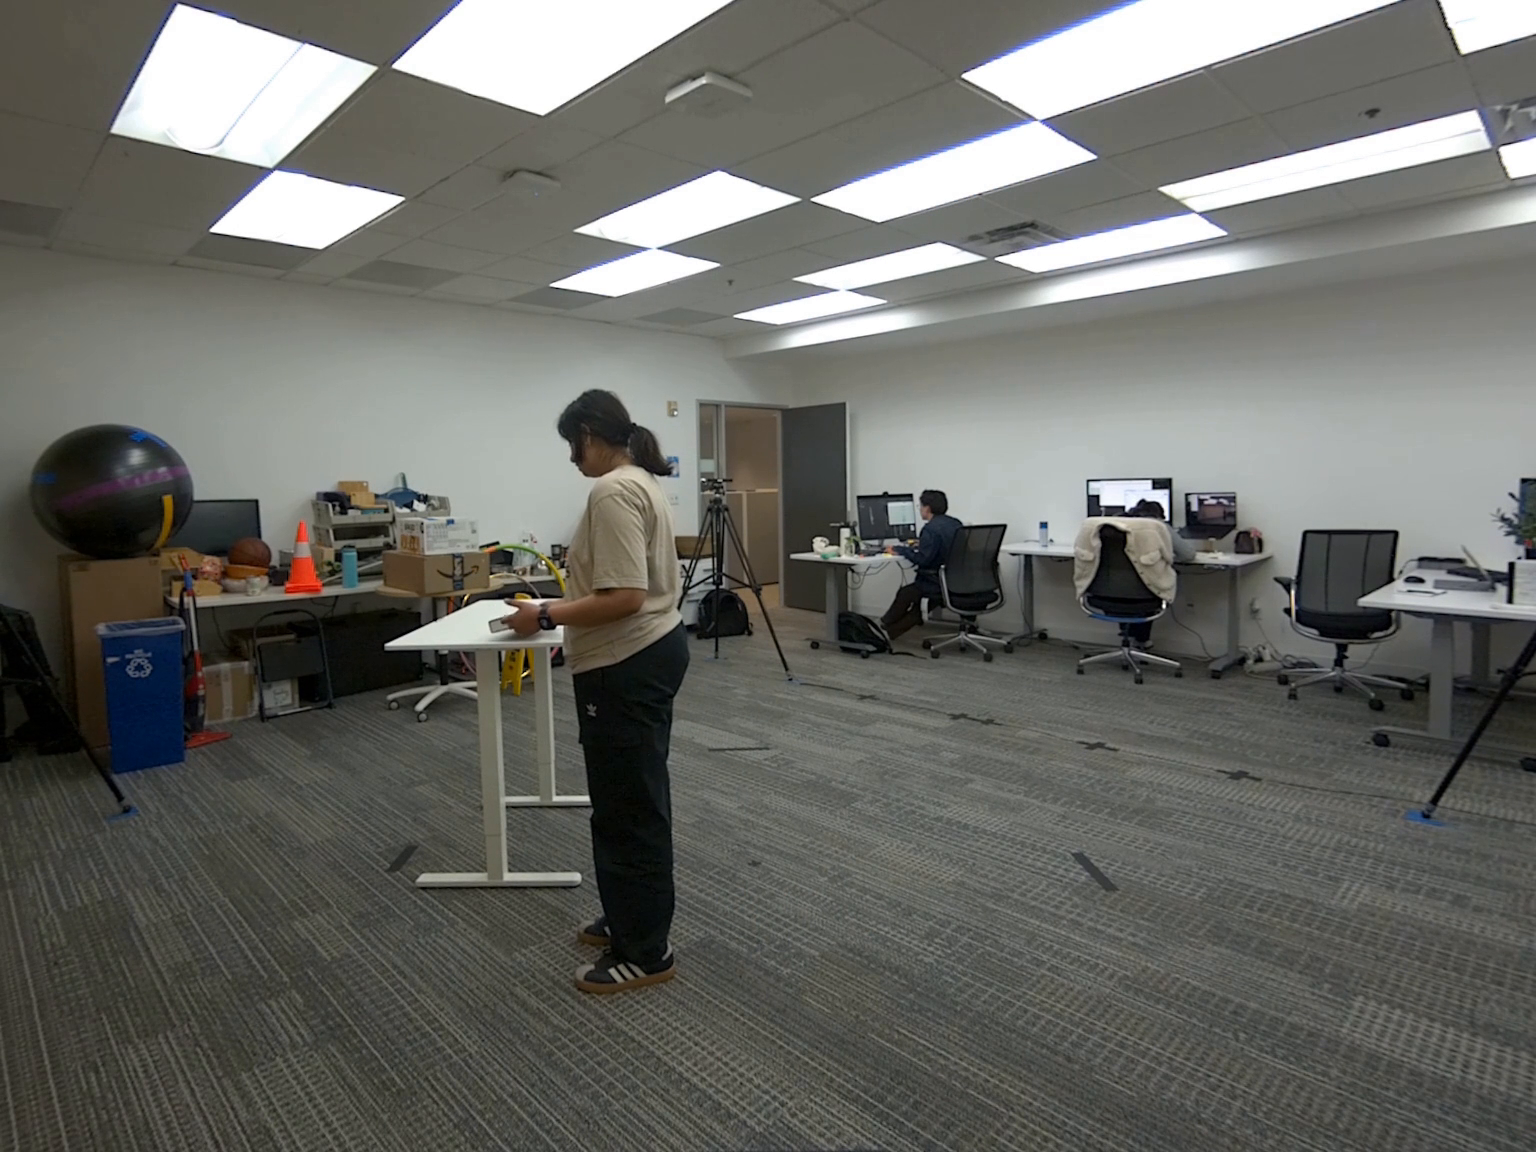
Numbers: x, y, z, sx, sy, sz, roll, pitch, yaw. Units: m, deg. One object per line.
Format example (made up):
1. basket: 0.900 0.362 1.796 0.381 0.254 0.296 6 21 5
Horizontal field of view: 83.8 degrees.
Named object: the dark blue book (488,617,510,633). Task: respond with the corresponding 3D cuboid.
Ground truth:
1. dark blue book: -0.823 0.143 2.918 0.164 0.045 0.243 -15 0 7
